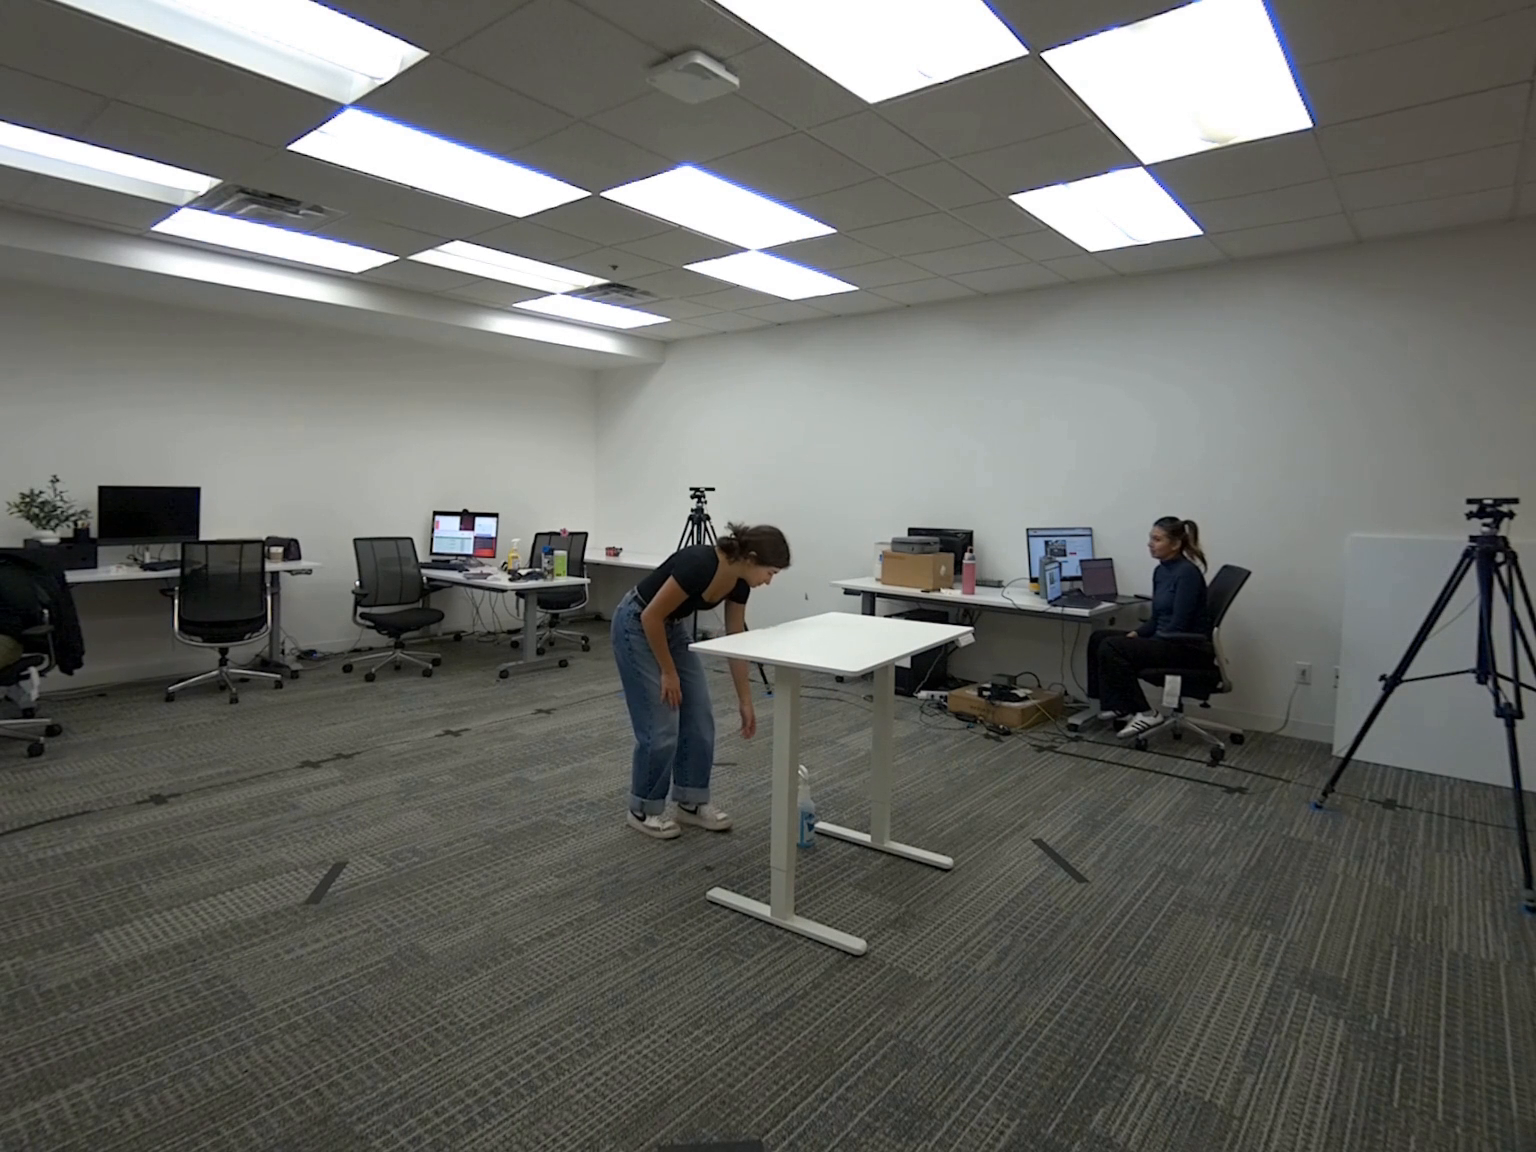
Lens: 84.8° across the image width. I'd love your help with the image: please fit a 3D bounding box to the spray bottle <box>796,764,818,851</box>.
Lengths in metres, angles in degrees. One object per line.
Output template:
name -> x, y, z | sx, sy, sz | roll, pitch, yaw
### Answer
spray bottle -> 0.137, 0.910, 3.362 | 0.088, 0.297, 0.088 | -1, -1, 16
